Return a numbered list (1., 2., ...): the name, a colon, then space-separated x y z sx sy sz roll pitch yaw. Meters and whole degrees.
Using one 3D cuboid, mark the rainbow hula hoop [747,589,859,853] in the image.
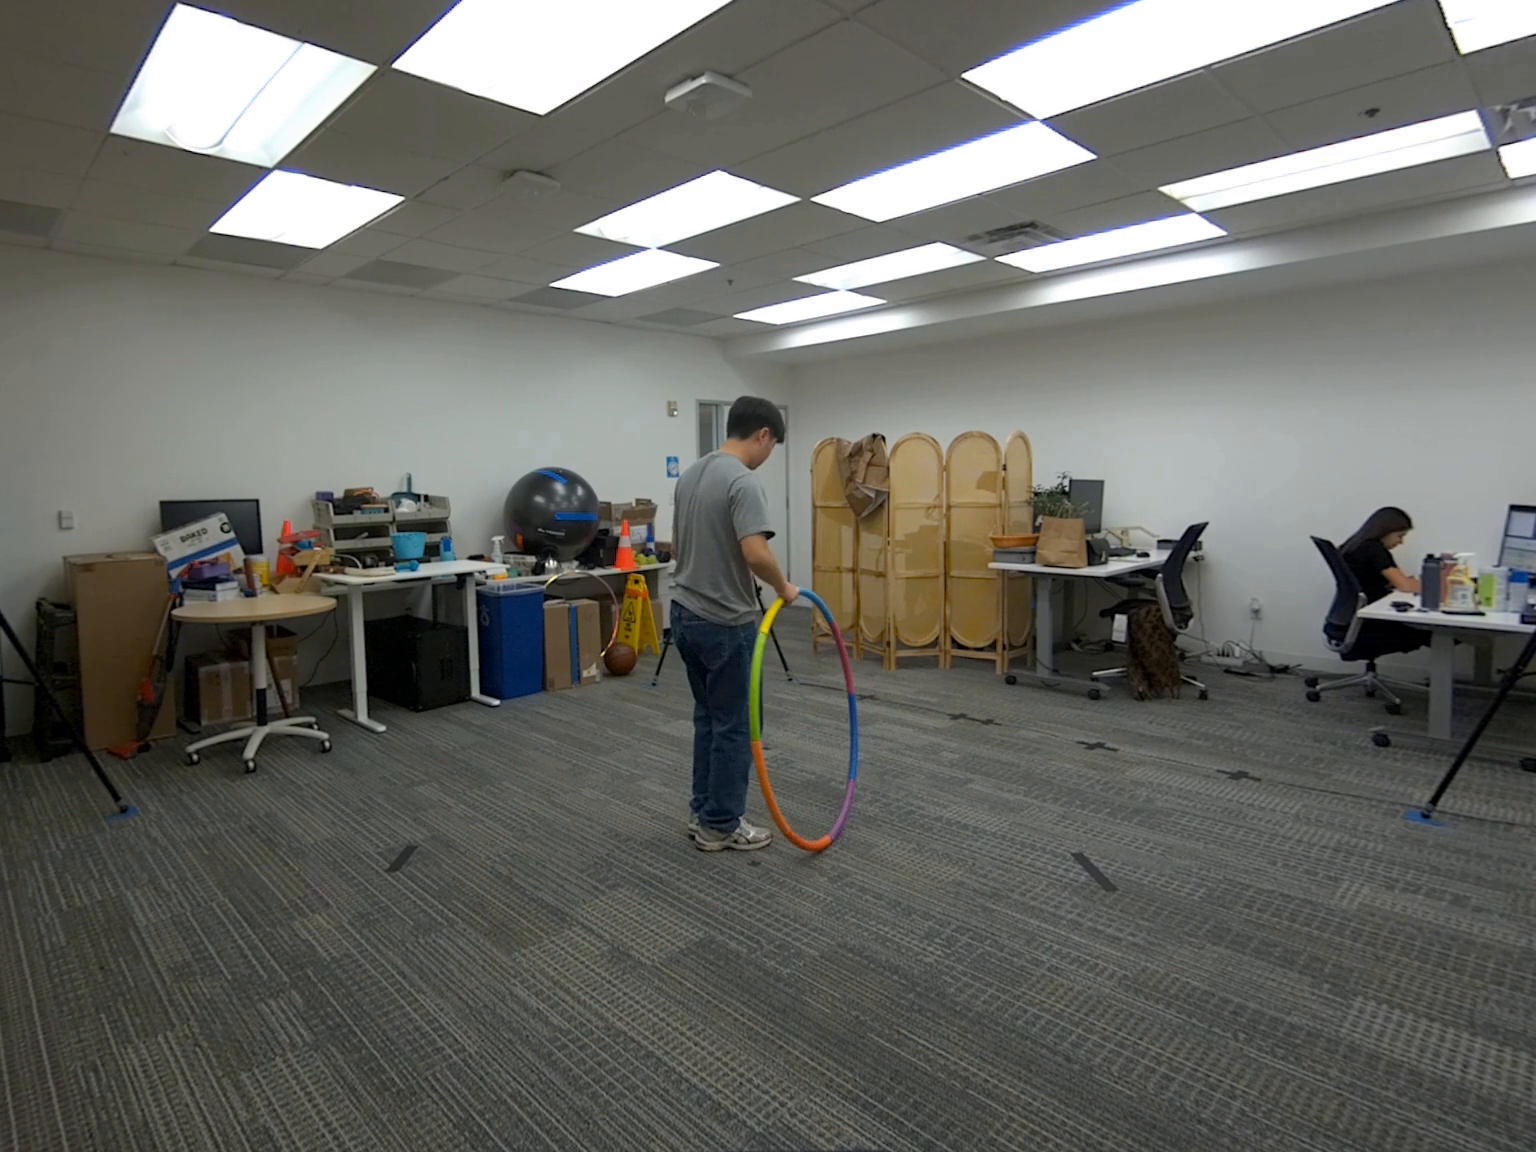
1. rainbow hula hoop: 0.174 0.528 3.284 0.036 0.979 0.960 -9 1 26
